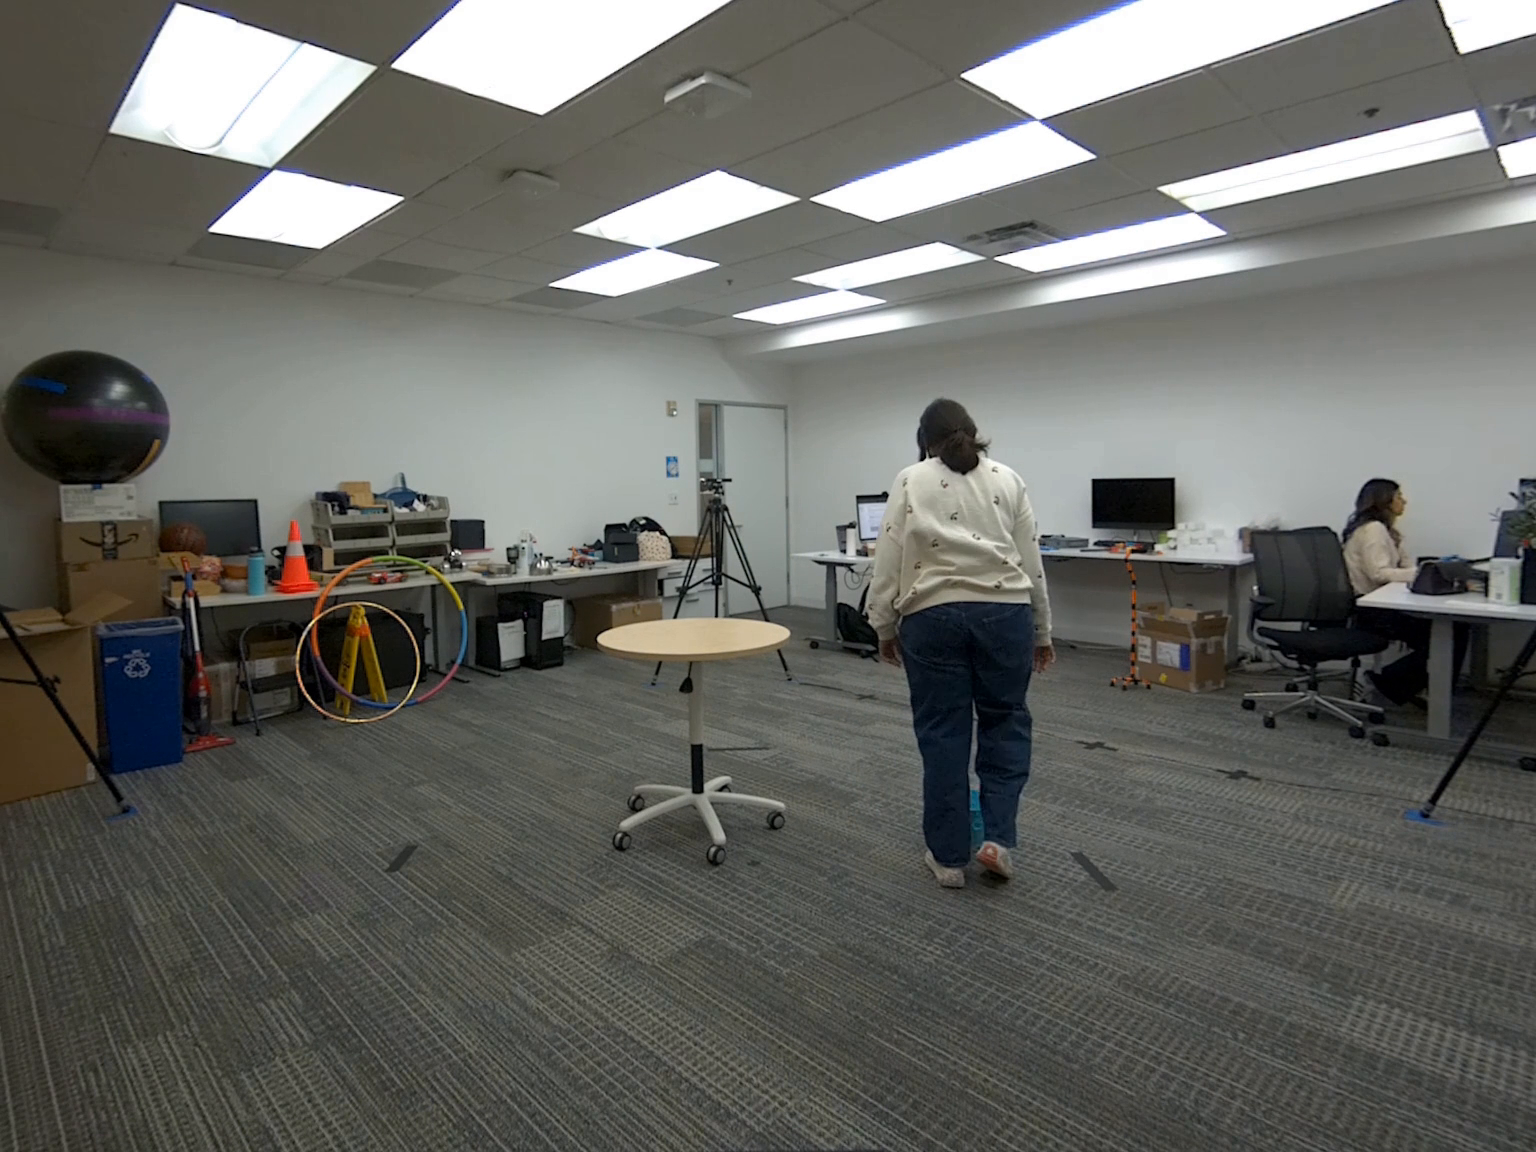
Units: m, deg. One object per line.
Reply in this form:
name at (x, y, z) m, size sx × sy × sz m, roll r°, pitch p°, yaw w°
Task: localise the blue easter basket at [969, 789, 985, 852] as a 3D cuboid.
blue easter basket at (0.774, 0.935, 3.300) m, size 0.243 × 0.155 × 0.245 m, roll -1°, pitch 5°, yaw -2°
